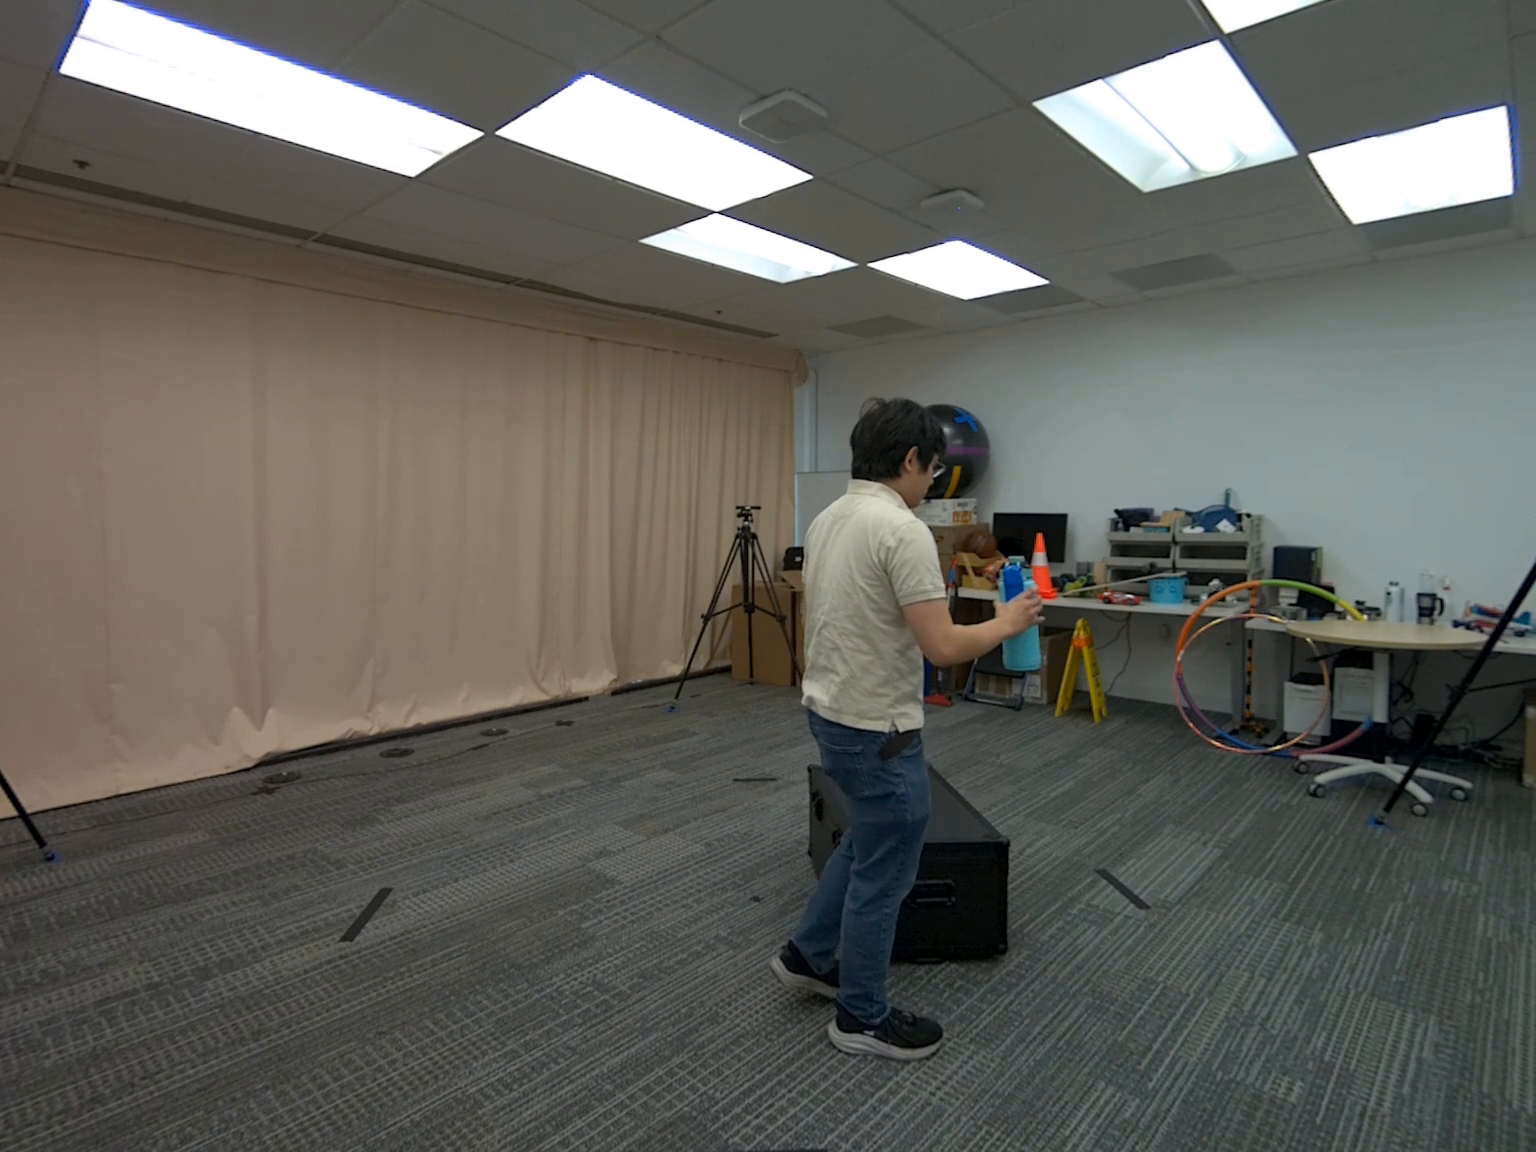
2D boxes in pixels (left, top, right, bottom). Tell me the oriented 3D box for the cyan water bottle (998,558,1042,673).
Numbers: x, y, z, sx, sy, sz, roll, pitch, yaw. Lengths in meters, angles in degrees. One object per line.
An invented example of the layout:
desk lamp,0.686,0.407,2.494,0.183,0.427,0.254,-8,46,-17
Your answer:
cyan water bottle,0.652,0.096,2.122,0.092,0.282,0.093,-7,5,-1
